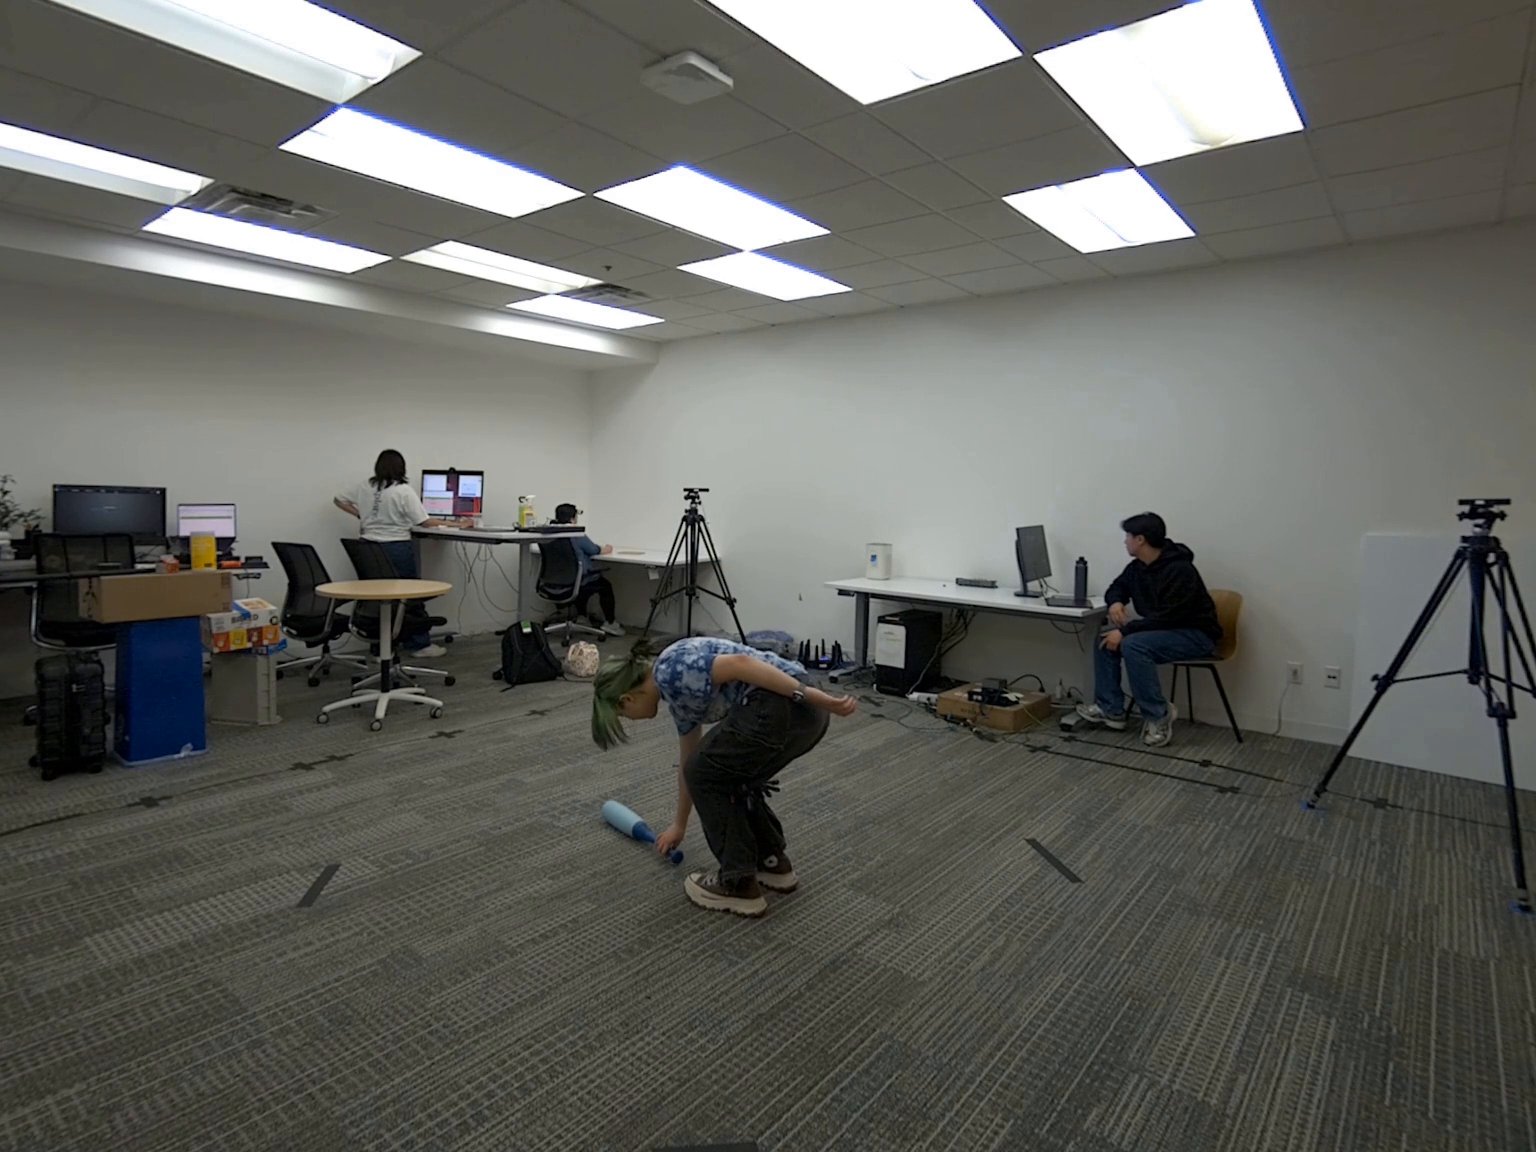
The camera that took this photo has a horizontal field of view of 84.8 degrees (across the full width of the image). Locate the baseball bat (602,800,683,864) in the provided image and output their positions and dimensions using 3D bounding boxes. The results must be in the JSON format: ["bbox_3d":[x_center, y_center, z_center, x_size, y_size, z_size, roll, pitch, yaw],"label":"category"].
[{"bbox_3d":[-0.510,1.002,3.340,0.086,0.088,0.562,-2,7,-37],"label":"baseball bat"}]
